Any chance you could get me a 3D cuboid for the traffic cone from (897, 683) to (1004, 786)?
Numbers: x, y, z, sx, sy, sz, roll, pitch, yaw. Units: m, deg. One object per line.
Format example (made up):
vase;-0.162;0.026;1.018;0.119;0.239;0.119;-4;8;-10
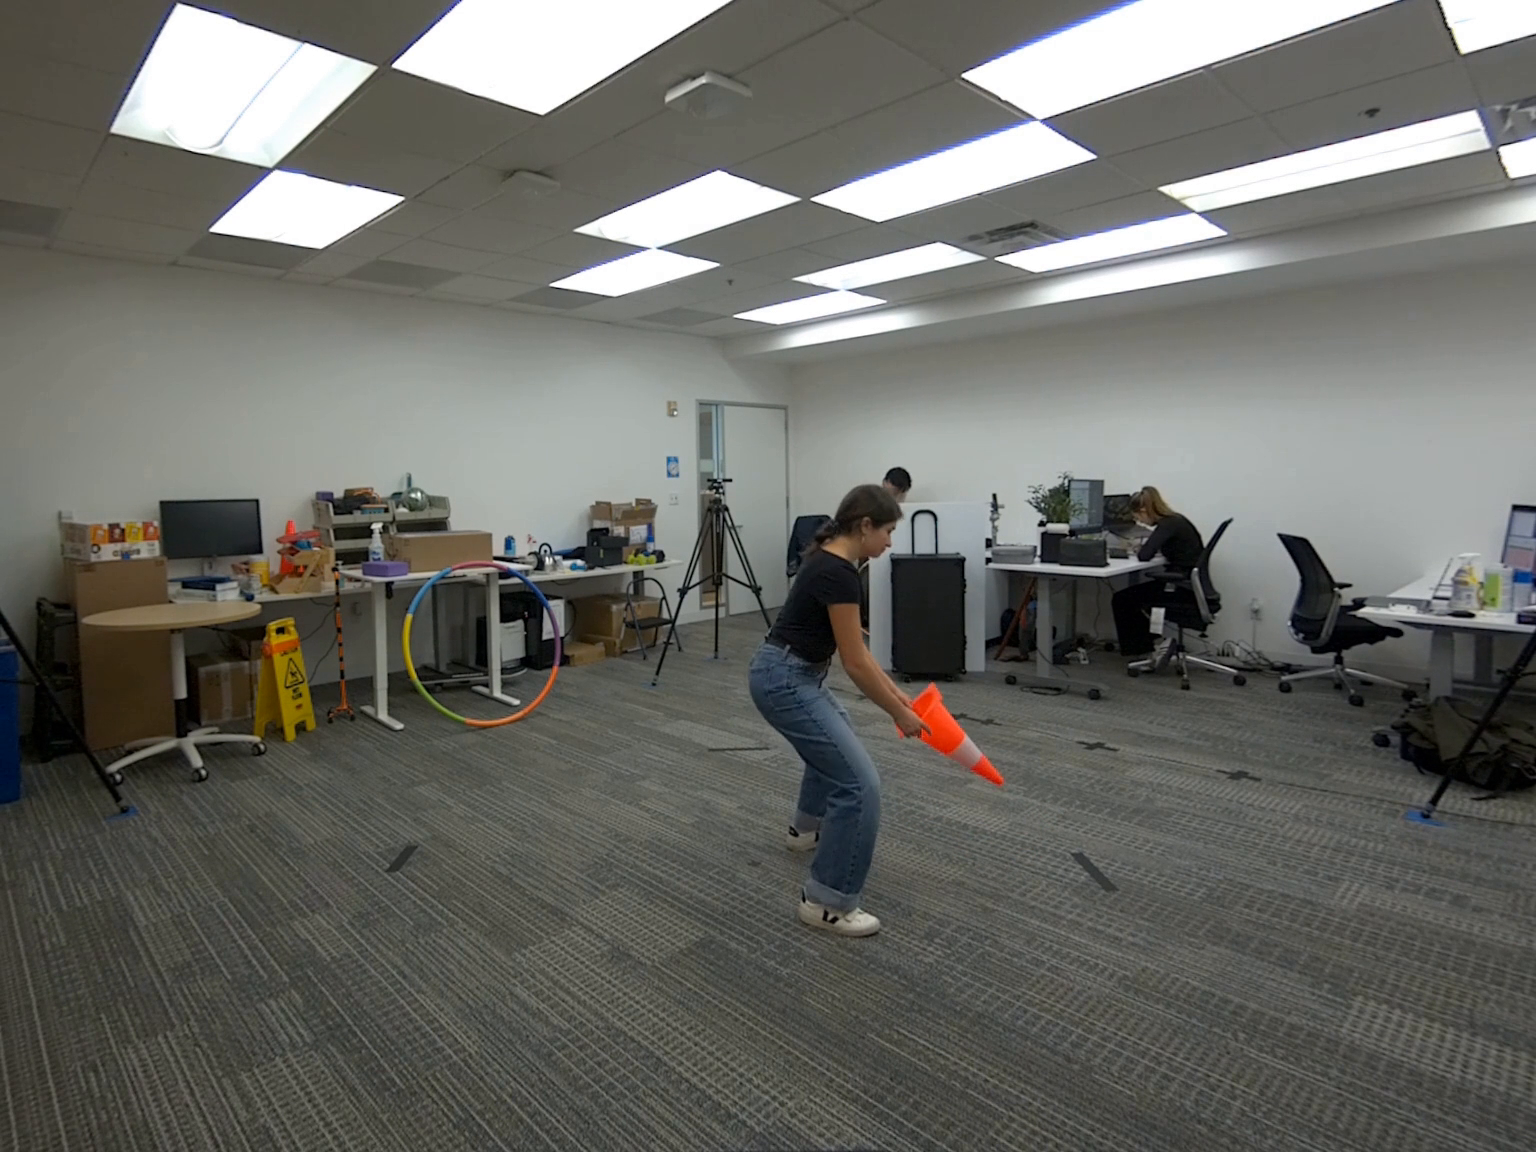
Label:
traffic cone;0.649;0.578;2.908;0.381;0.205;0.204;40;-5;-5
